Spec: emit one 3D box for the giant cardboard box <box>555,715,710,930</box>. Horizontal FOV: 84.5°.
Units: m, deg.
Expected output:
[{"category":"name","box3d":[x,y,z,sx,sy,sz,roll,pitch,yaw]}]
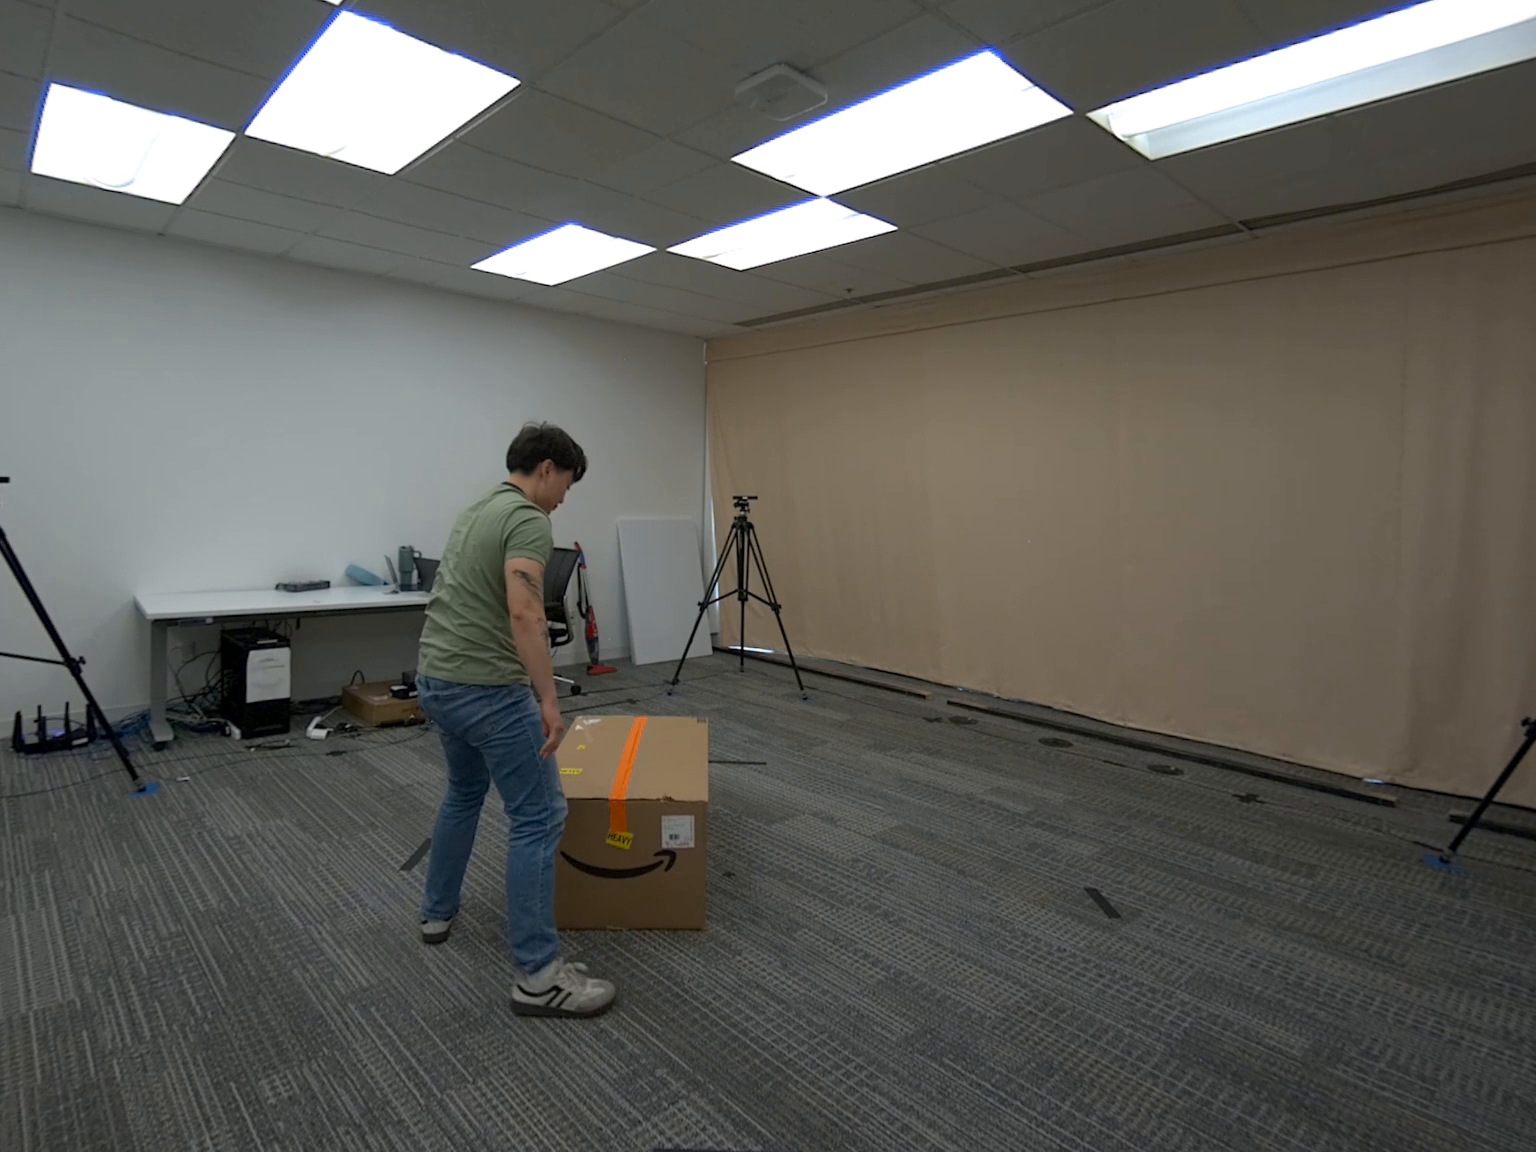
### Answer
[{"category":"giant cardboard box","box3d":[-0.521,0.873,3.190,0.576,0.425,1.031,0,5,-4]}]
